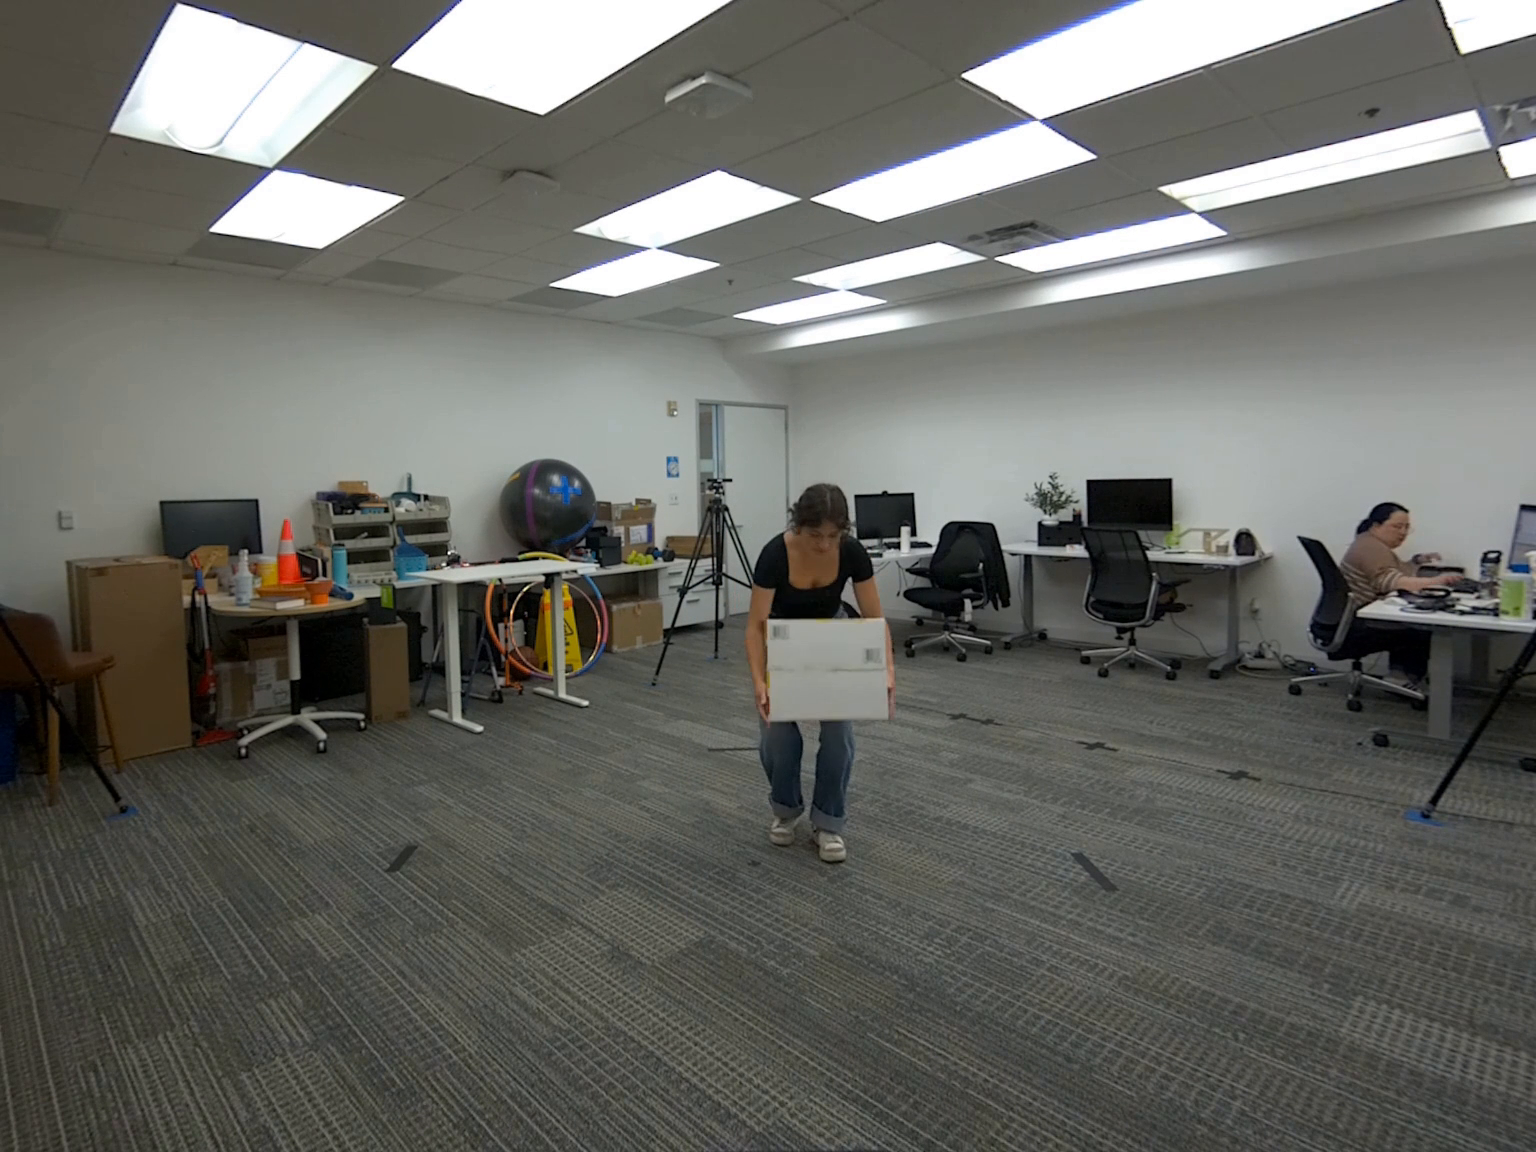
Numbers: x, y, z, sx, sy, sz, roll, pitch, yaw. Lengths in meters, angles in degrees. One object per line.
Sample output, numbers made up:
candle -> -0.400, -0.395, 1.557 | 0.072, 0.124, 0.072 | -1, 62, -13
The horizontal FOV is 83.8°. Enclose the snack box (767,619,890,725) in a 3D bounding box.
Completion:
snack box -> 0.187, 0.321, 2.946 | 0.405, 0.342, 0.205 | -1, -5, -1
